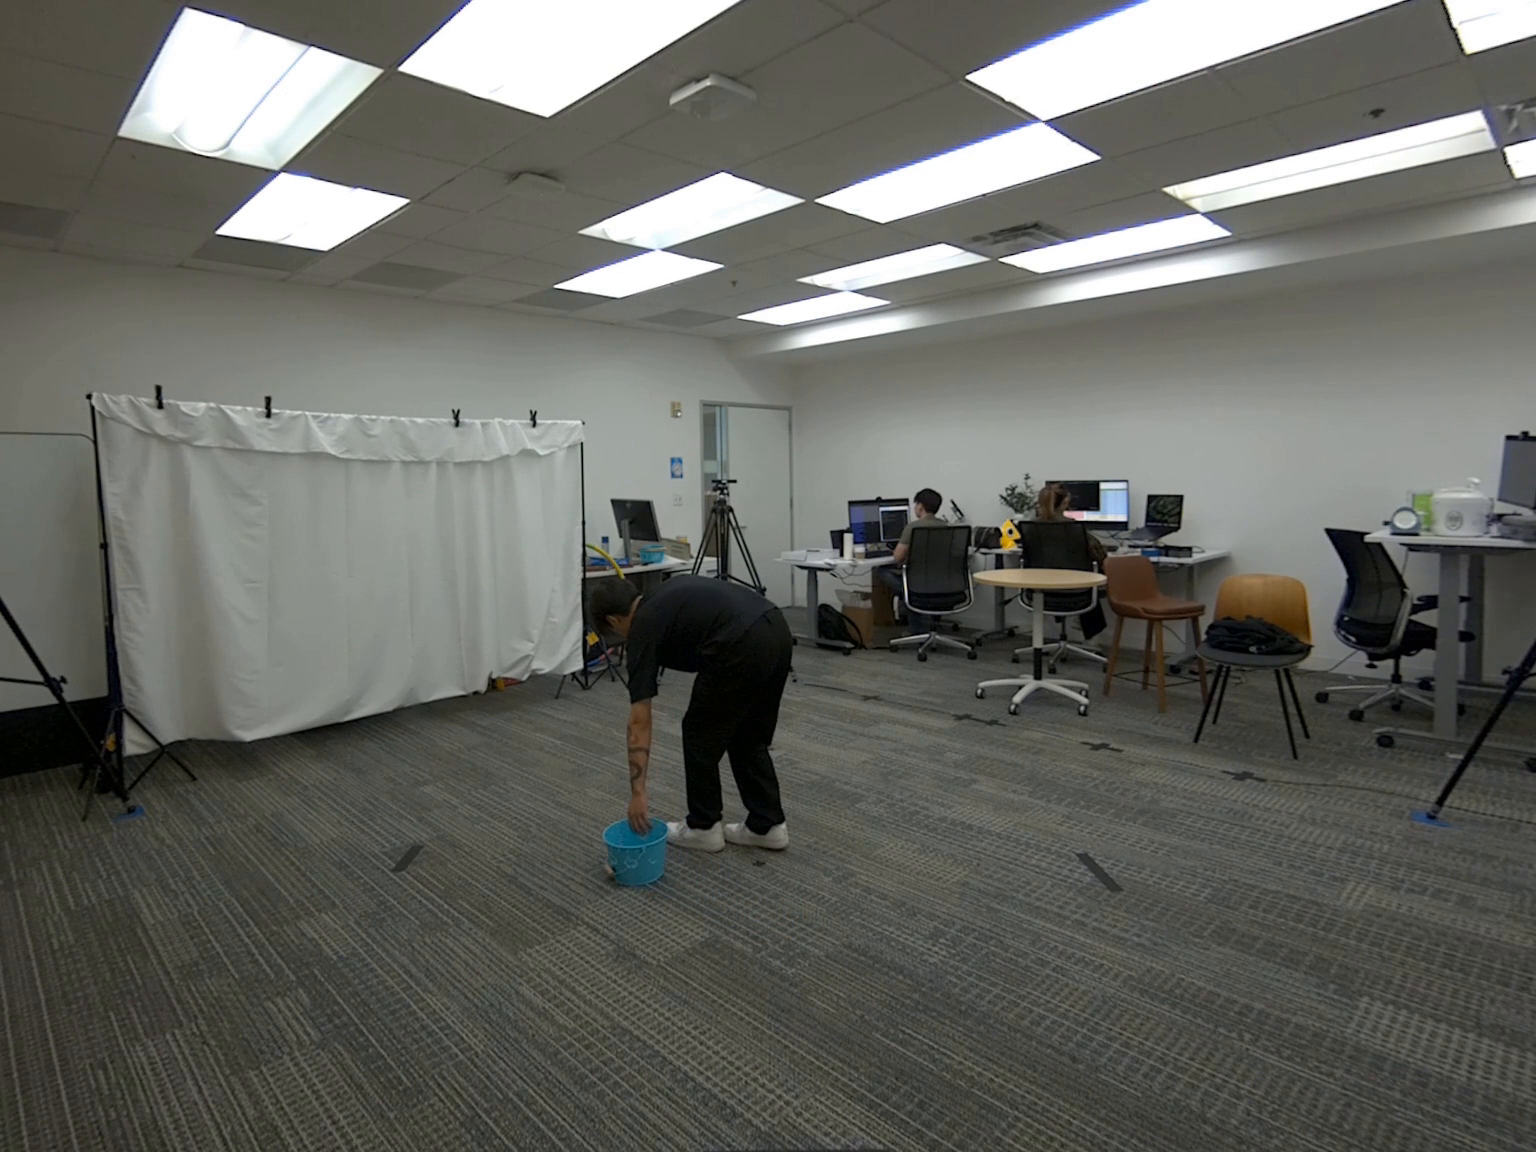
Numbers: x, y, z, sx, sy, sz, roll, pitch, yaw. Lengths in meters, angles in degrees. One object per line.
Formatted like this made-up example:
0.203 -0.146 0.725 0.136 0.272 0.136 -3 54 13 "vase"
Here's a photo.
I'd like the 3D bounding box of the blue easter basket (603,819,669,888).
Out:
-0.458 0.980 3.038 0.243 0.155 0.245 -2 9 -1 "blue easter basket"
